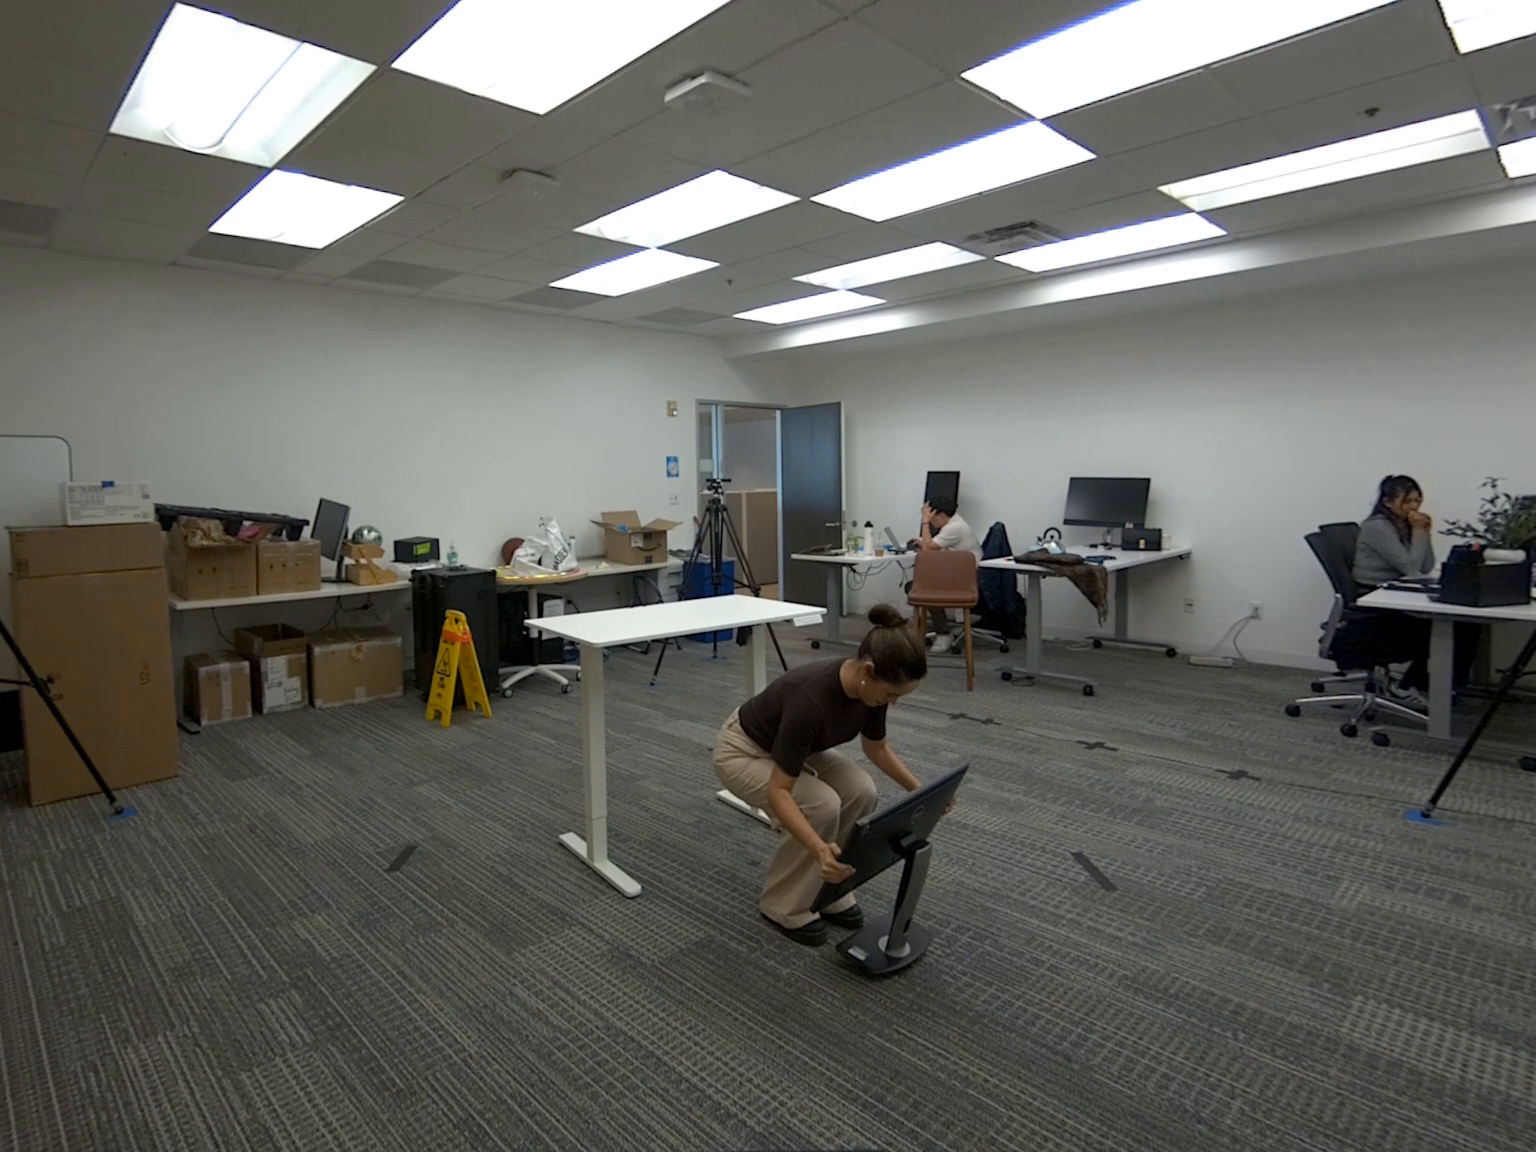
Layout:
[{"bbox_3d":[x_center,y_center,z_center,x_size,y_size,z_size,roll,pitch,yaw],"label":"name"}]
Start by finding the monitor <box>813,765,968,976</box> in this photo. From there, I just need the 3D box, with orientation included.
[{"bbox_3d":[0.379,0.837,2.420,0.194,0.516,0.526,19,20,41],"label":"monitor"}]
